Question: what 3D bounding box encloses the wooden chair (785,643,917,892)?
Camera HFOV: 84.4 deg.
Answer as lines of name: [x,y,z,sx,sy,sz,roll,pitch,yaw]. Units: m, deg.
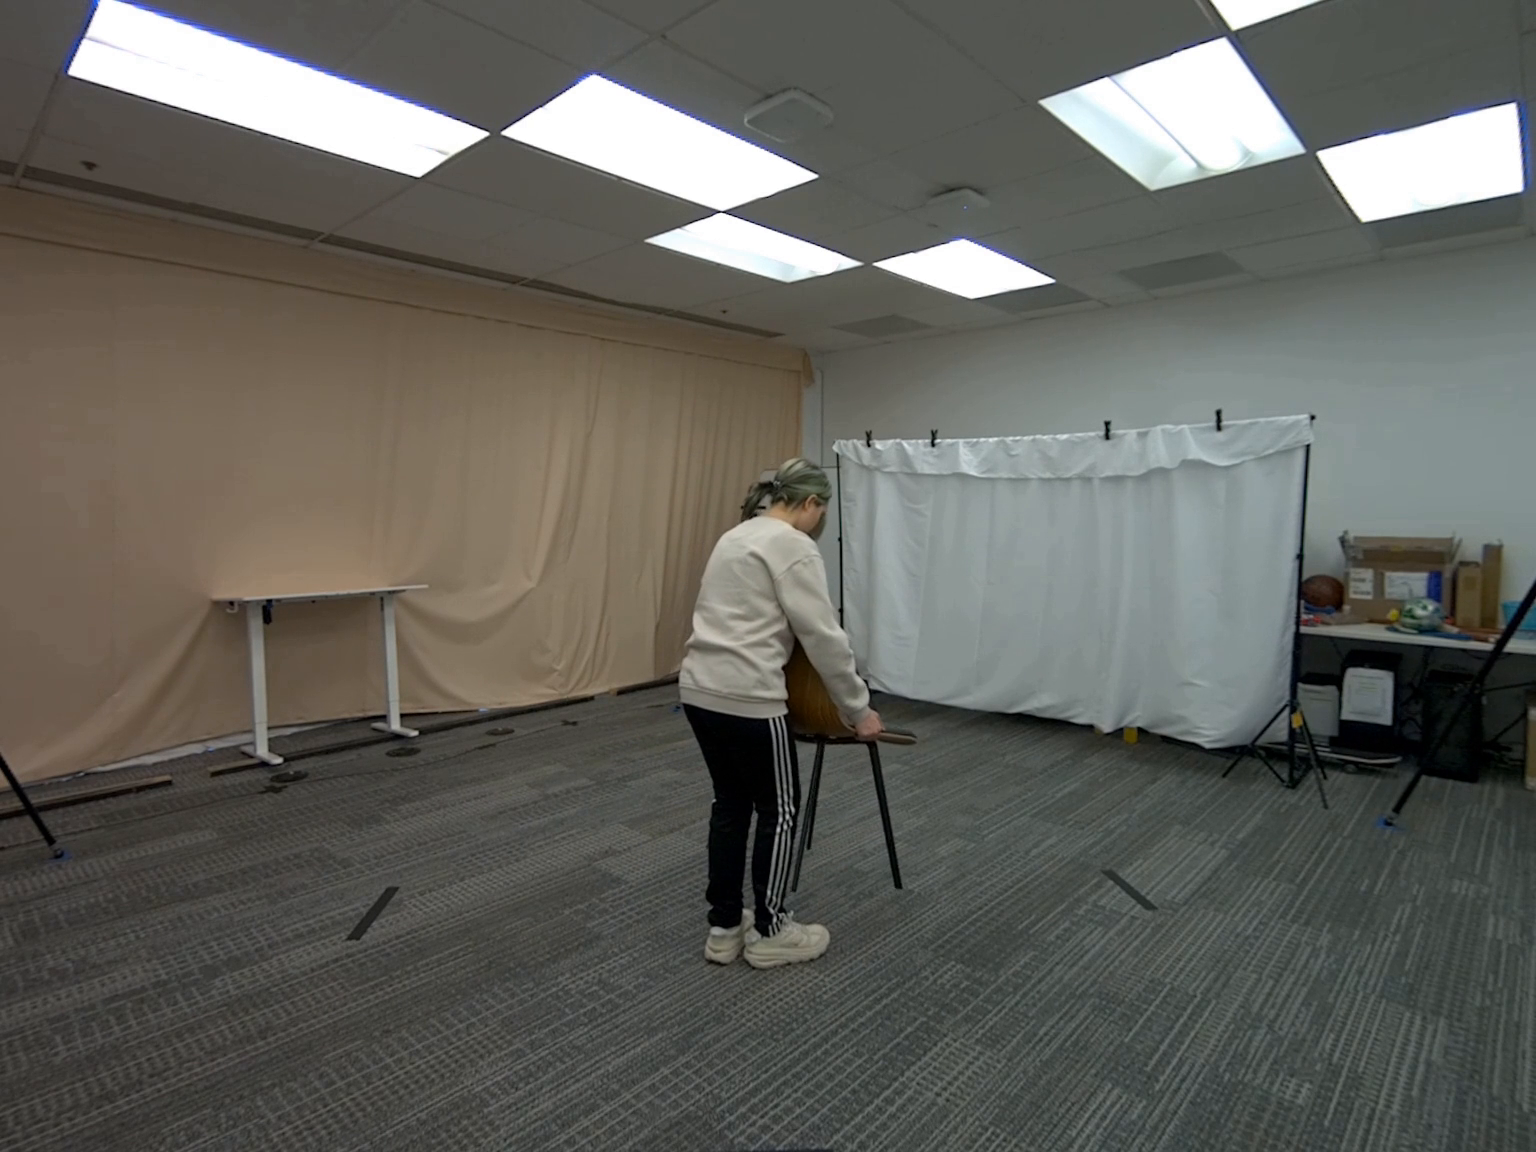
wooden chair: [0.191,0.530,2.762,0.506,0.880,0.493,9,-6,-37]
